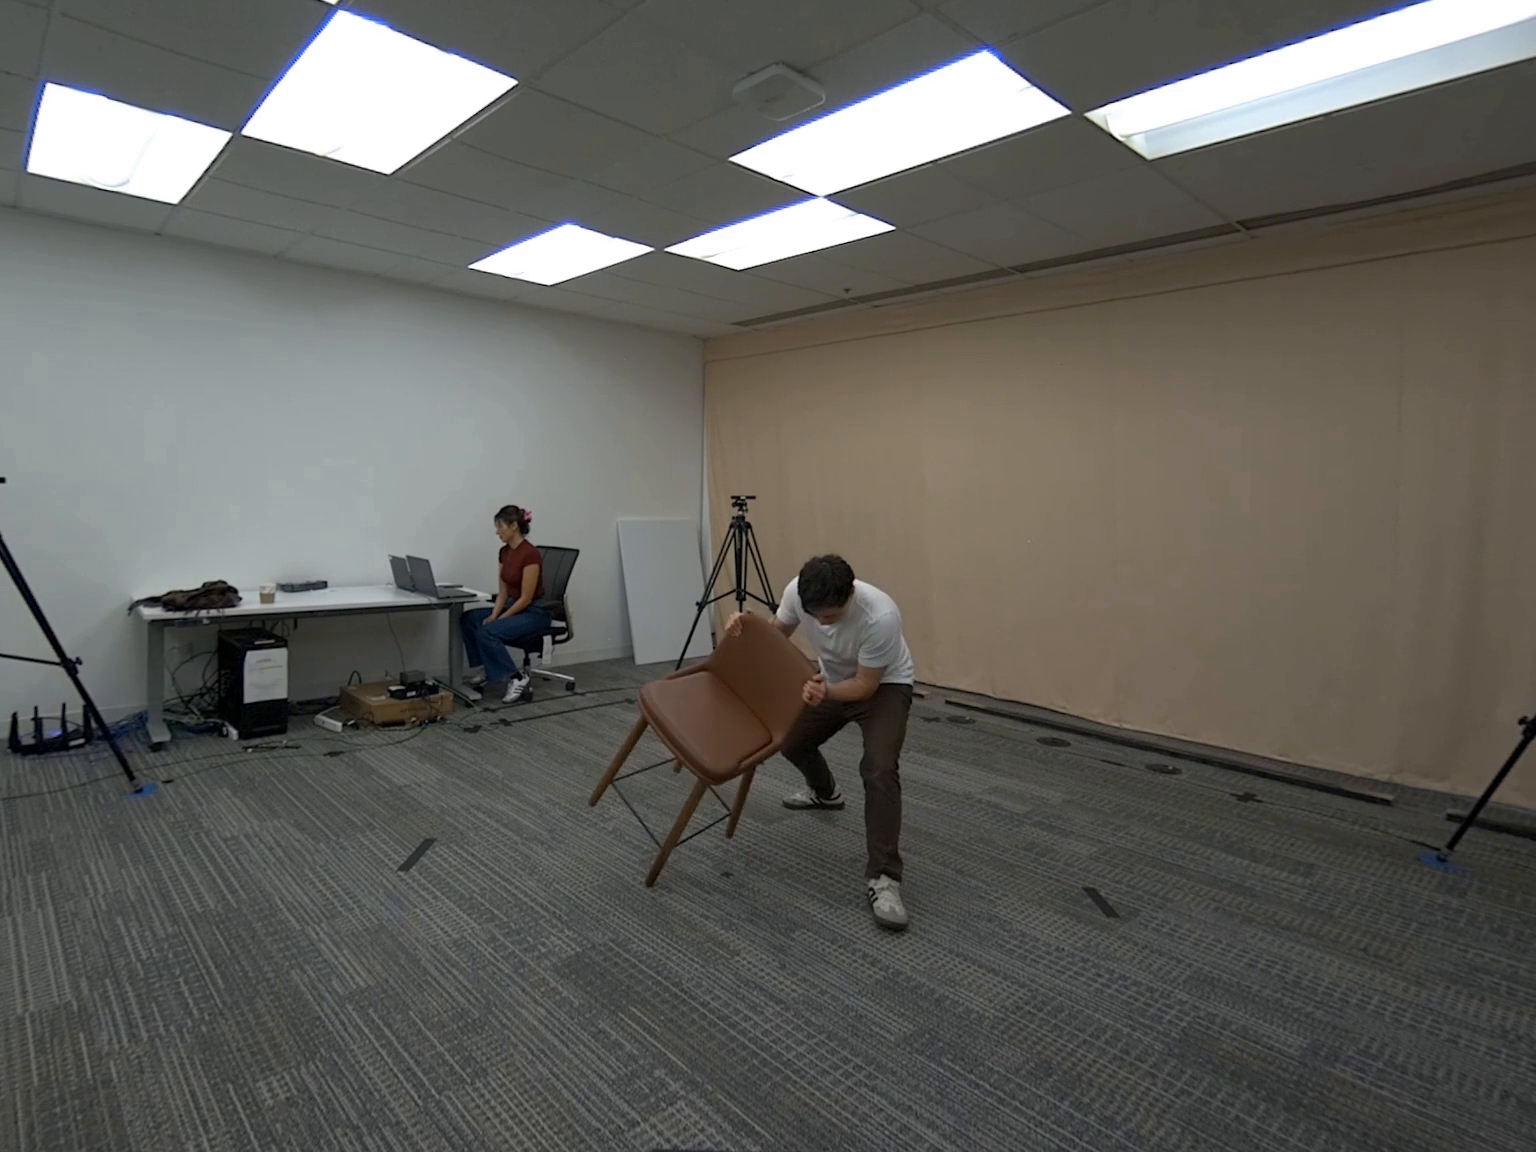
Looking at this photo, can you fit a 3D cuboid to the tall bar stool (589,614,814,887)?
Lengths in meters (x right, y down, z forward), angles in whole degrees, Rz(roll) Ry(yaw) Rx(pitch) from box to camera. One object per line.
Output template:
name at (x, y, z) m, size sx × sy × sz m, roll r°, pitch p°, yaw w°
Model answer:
tall bar stool at (-0.240, 0.623, 3.032) m, size 0.458 × 0.883 × 0.469 m, roll -8°, pitch 44°, yaw -47°
